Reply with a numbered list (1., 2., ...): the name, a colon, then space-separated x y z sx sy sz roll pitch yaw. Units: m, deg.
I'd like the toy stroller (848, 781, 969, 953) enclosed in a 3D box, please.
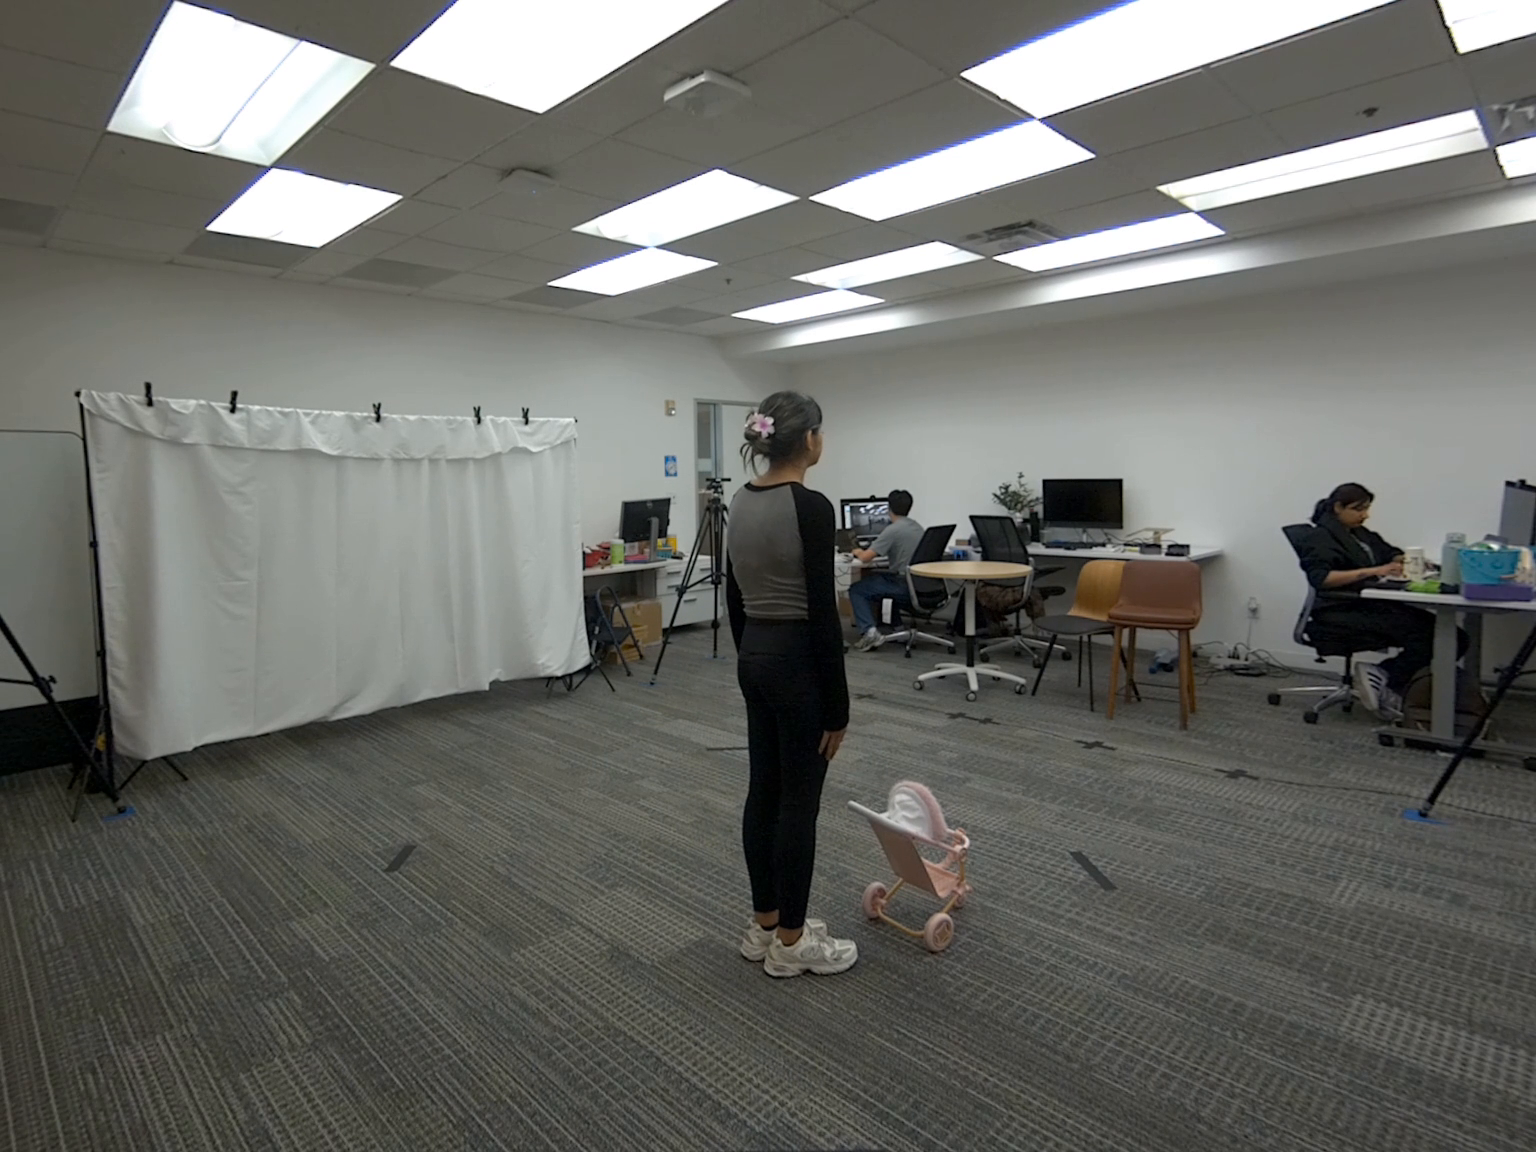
1. toy stroller: 0.475 0.866 2.630 0.336 0.527 0.290 -24 16 -31
